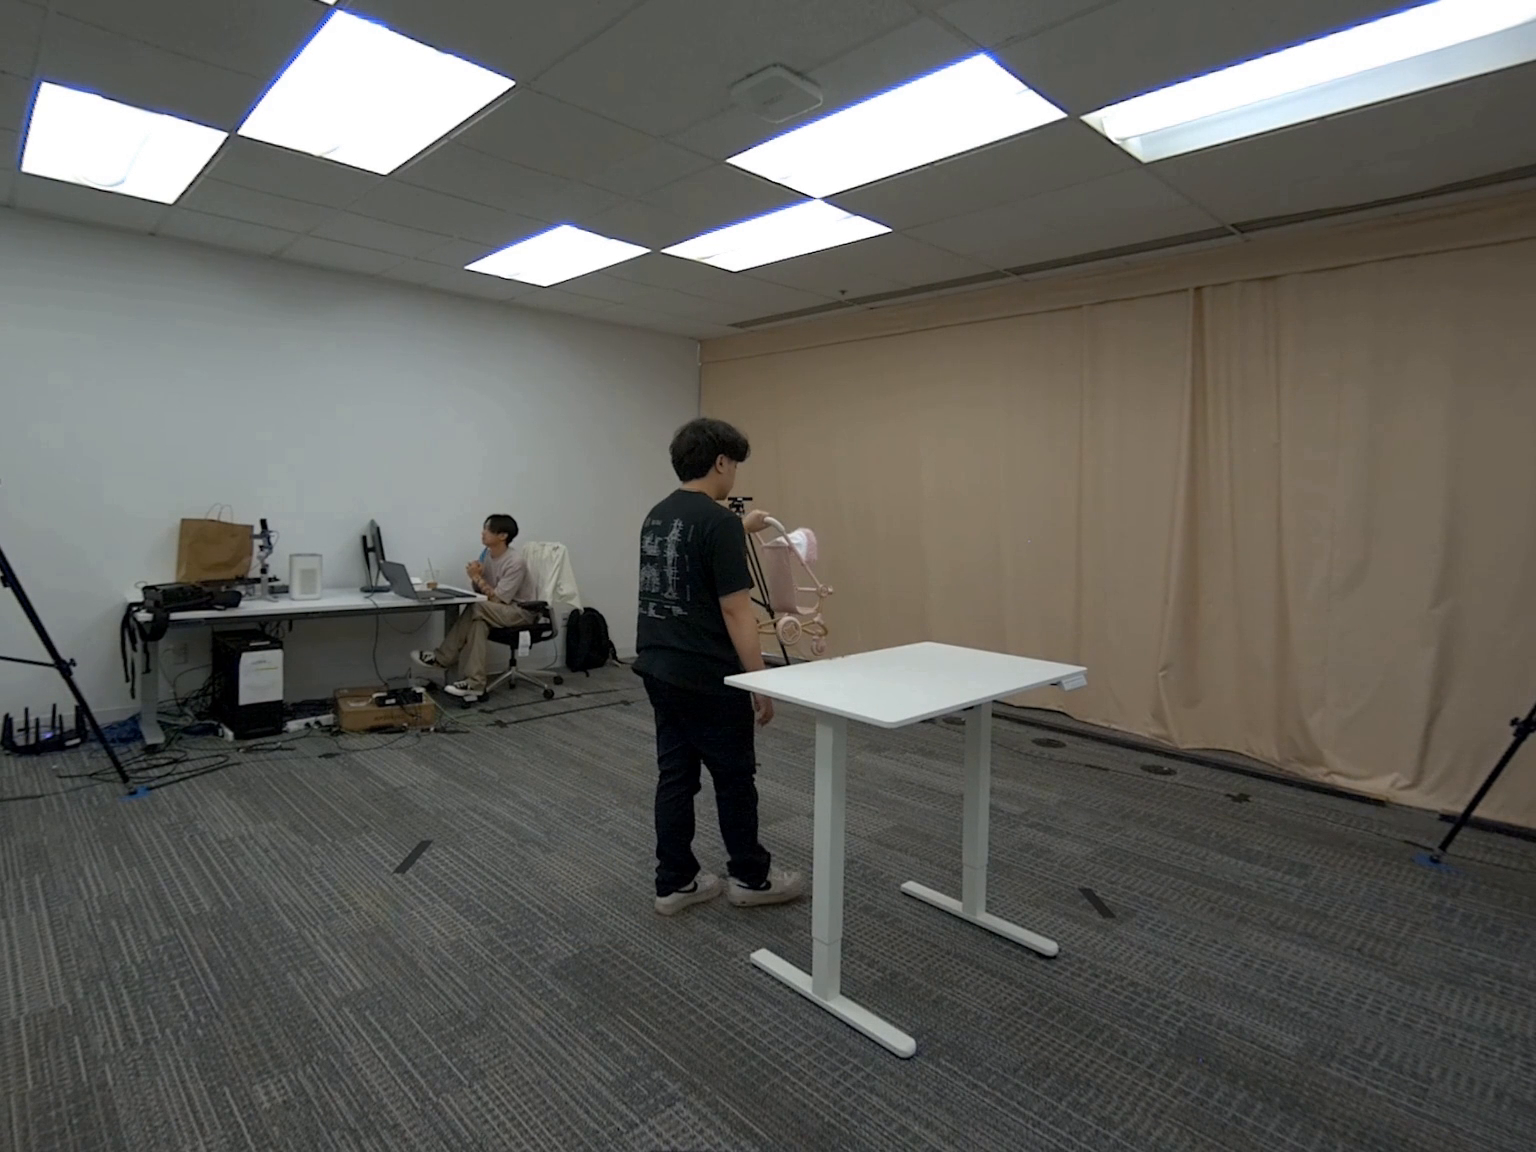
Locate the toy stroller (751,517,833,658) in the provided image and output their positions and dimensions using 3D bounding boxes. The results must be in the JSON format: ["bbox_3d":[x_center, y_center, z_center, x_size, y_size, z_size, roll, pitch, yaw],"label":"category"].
[{"bbox_3d":[0.091,0.052,3.284,0.334,0.536,0.287,3,-3,-30],"label":"toy stroller"}]
